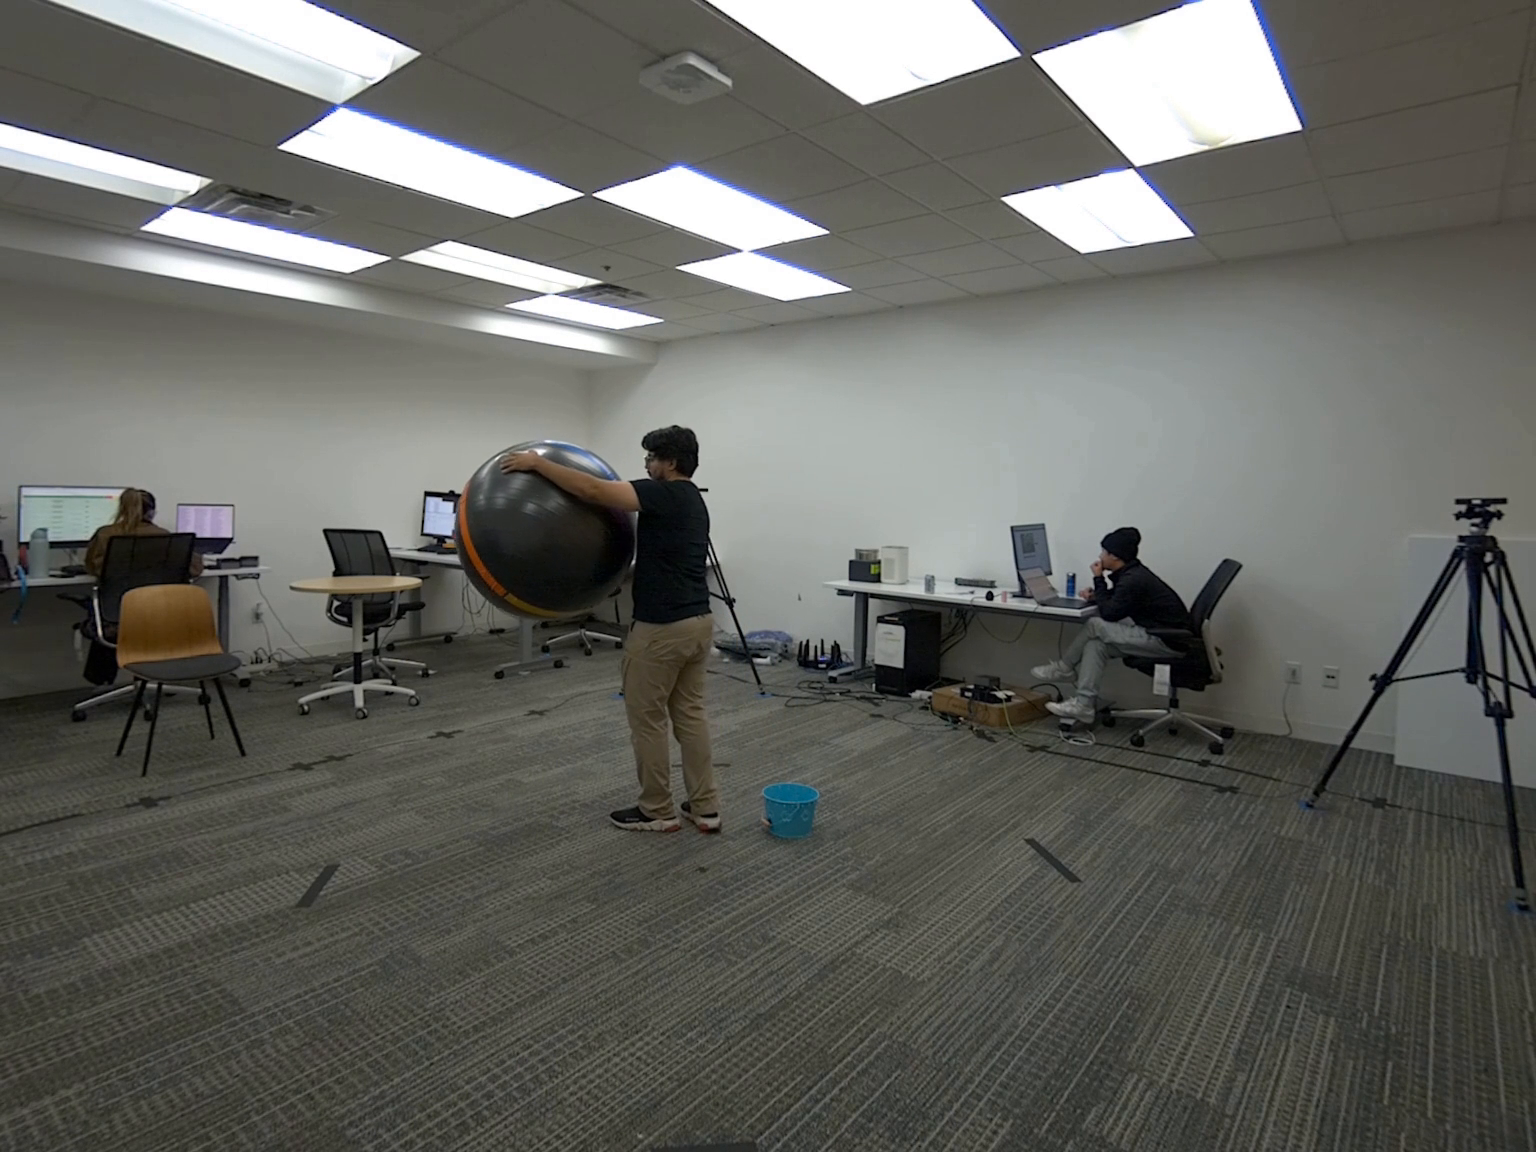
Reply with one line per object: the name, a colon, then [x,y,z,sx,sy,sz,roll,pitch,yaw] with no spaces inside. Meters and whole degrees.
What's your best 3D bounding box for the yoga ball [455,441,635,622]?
yoga ball: [-0.958,-0.192,3.601,0.757,0.755,0.762,1,4,-2]
